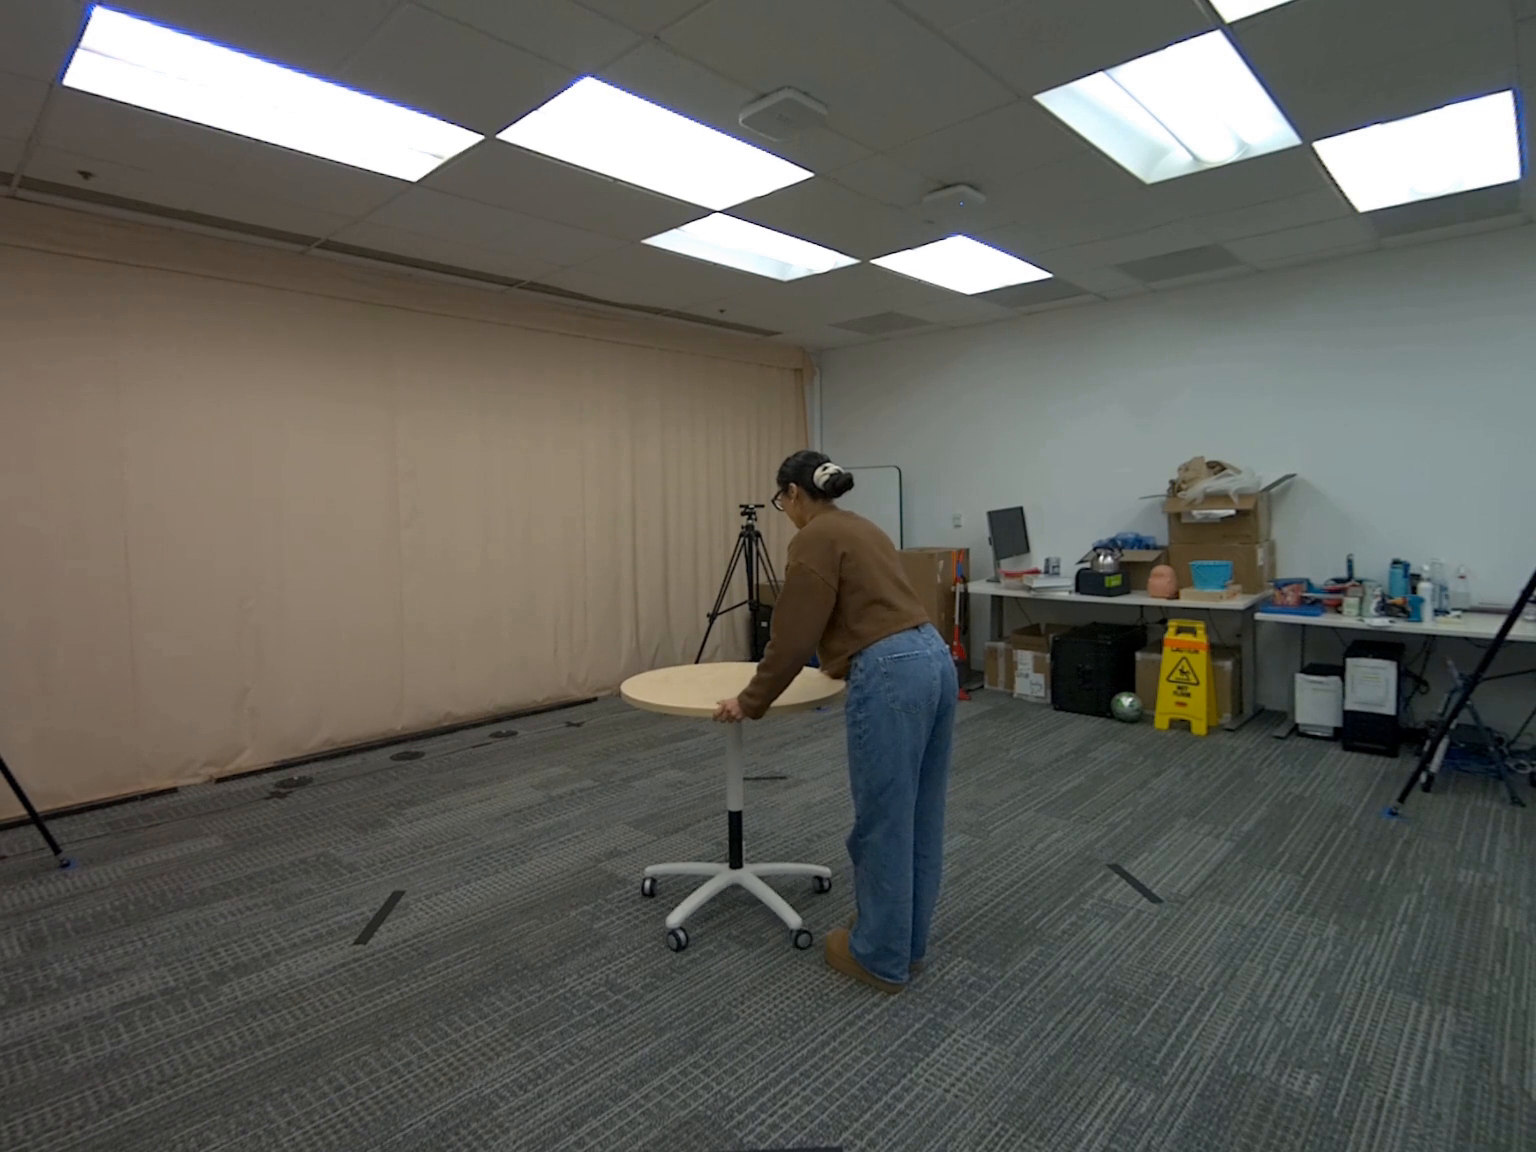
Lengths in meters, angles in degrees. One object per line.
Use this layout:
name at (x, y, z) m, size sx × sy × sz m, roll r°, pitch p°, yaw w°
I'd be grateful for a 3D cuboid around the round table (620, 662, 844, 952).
round table at (-0.108, 0.760, 2.898) m, size 0.763 × 0.792 × 0.766 m, roll -1°, pitch 3°, yaw -2°
